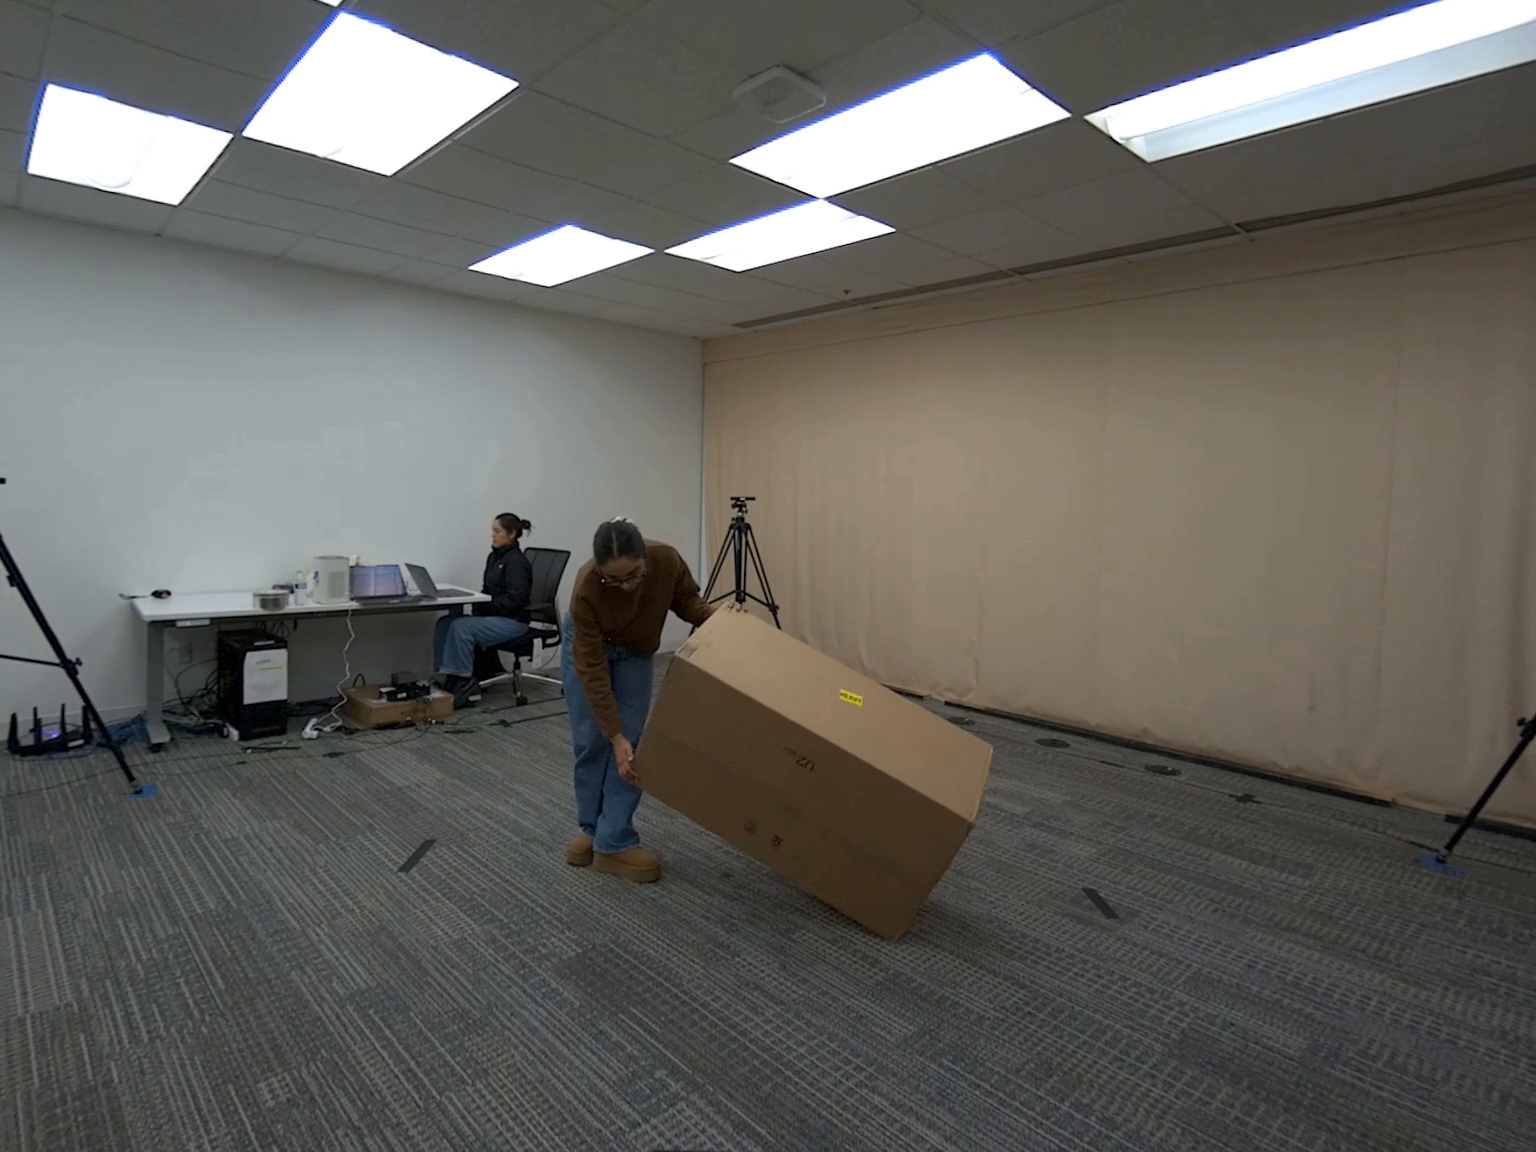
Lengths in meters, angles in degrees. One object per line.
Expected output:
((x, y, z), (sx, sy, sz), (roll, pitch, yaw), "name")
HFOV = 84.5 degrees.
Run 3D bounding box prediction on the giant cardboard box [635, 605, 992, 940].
((0.122, 0.636, 2.825), (1.040, 0.578, 0.445), (28, 28, 12), "giant cardboard box")
